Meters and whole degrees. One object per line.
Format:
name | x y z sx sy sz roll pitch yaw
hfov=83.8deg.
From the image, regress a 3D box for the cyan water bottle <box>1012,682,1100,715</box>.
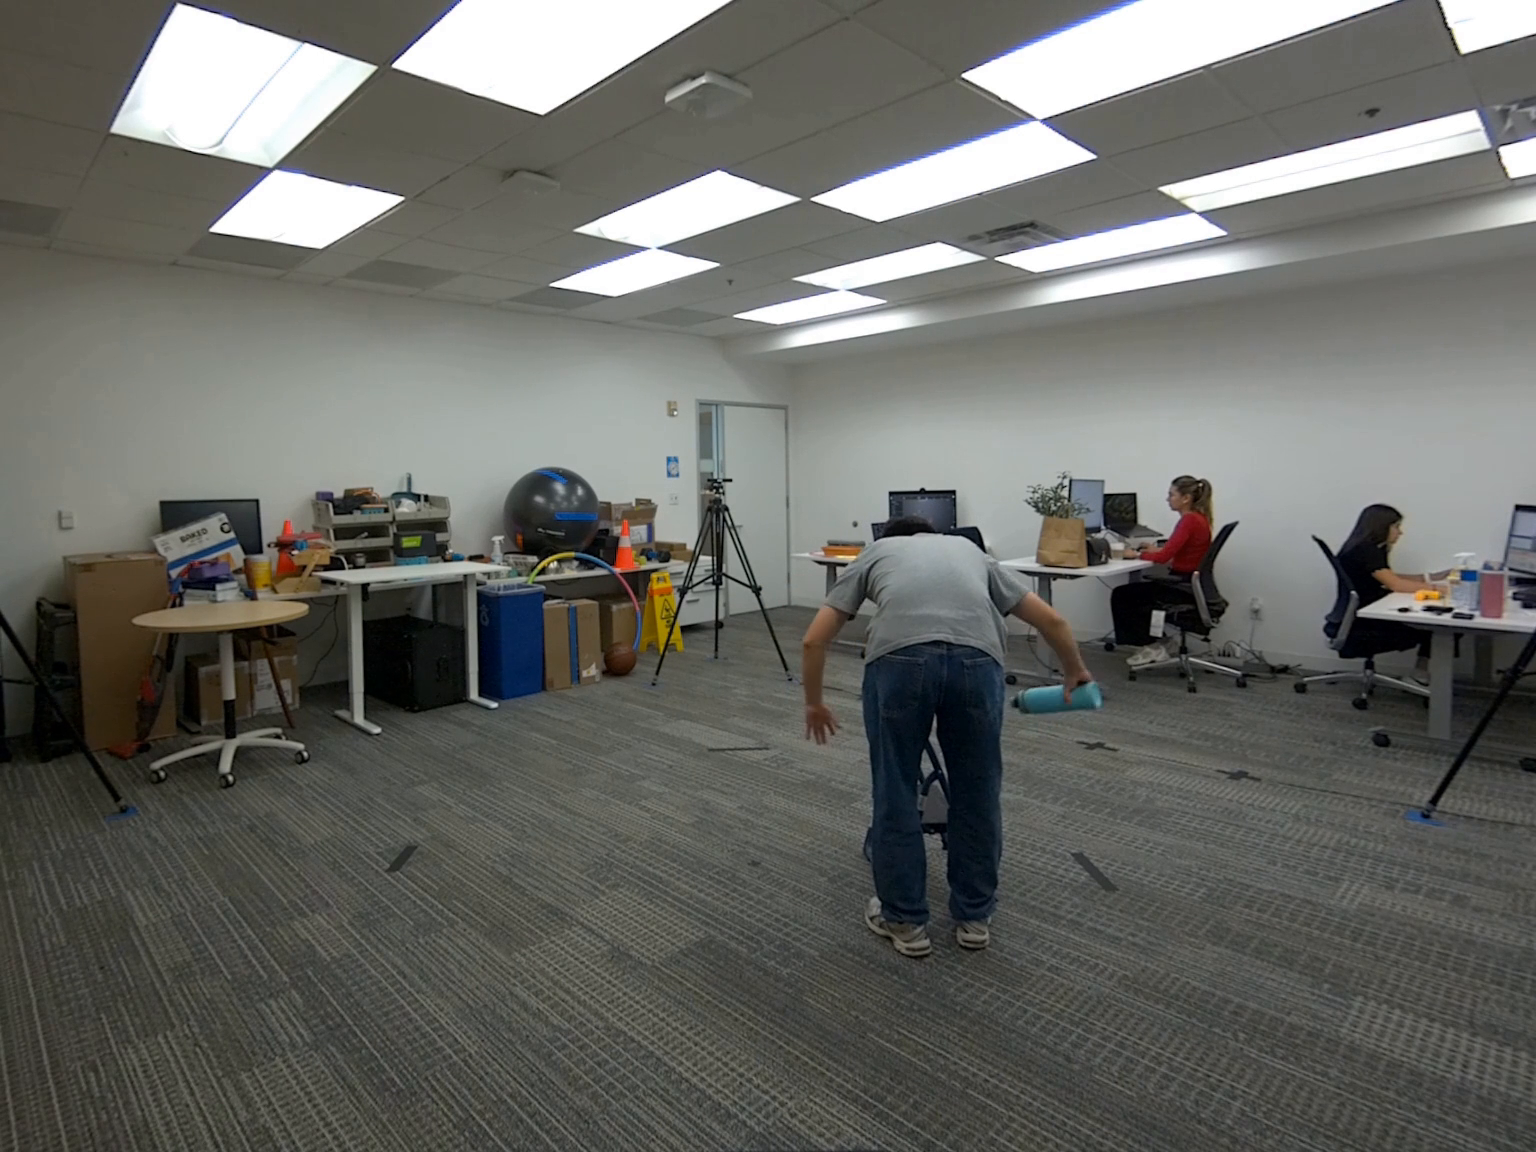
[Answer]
cyan water bottle | 0.933 0.432 2.912 0.289 0.092 0.090 -12 -1 32
